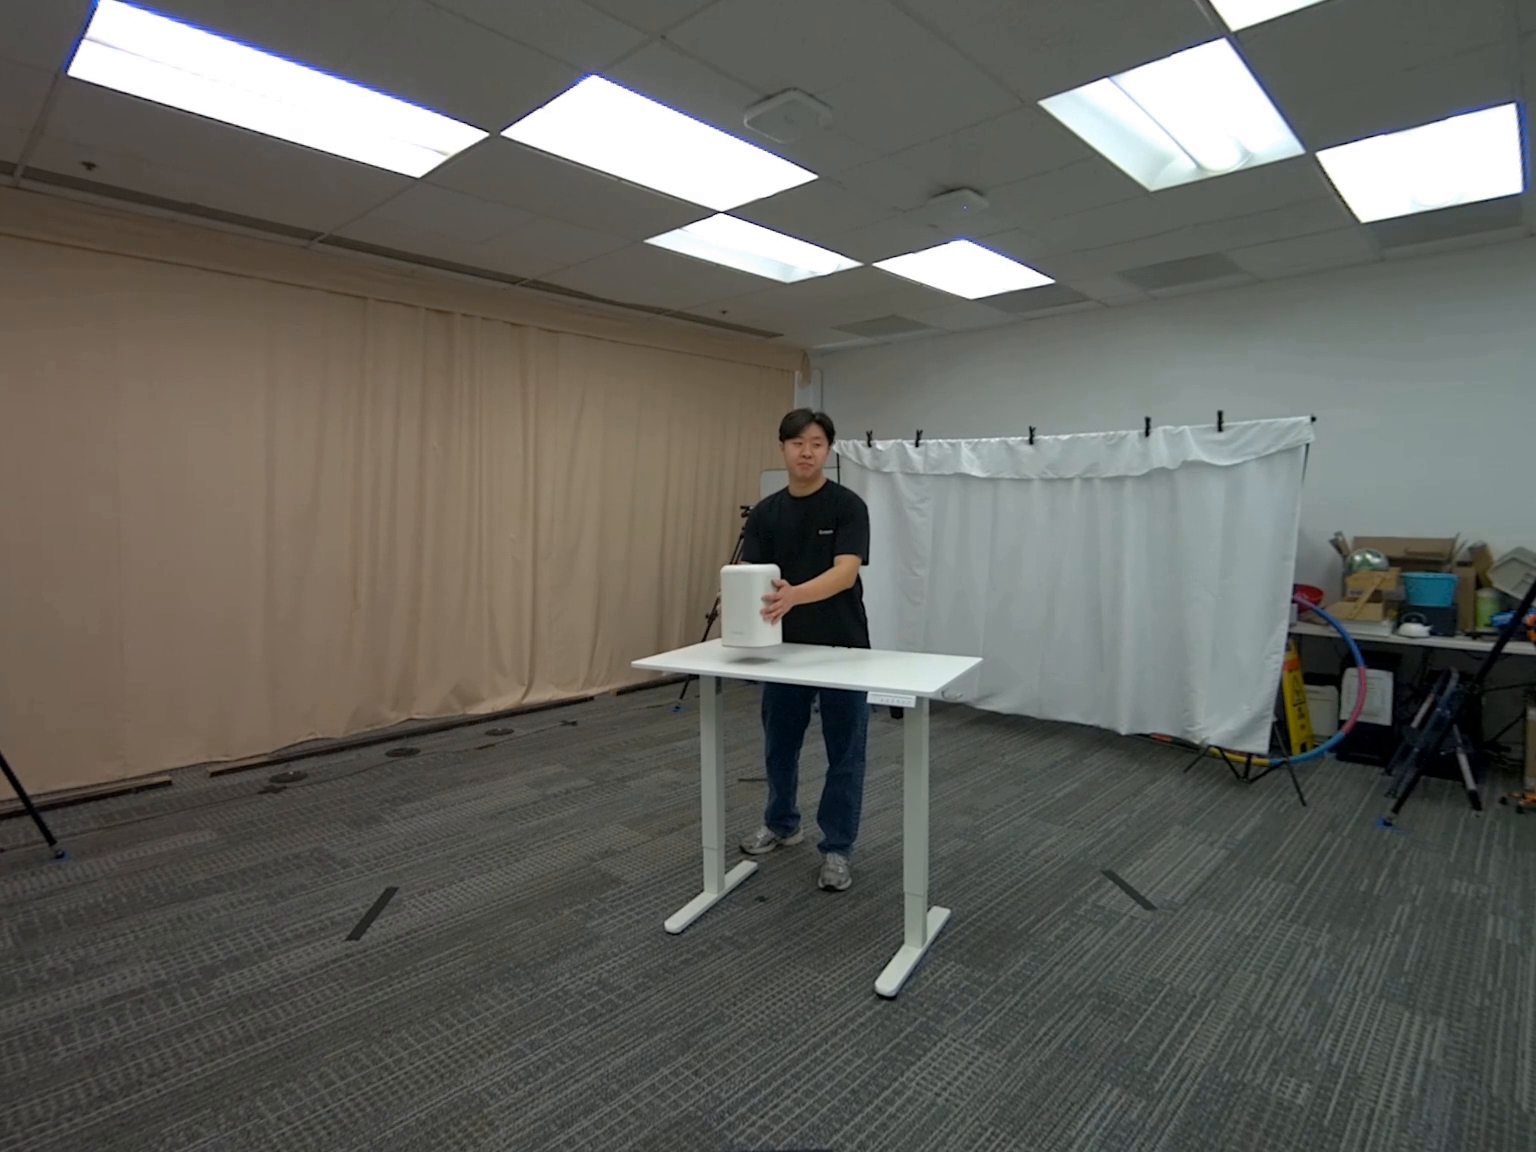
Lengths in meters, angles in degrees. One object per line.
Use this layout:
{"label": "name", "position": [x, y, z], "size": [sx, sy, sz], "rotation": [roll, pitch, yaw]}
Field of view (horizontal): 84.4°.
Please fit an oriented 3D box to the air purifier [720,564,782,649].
{"label": "air purifier", "position": [-0.054, 0.098, 2.760], "size": [0.176, 0.265, 0.166], "rotation": [0, 1, 34]}
